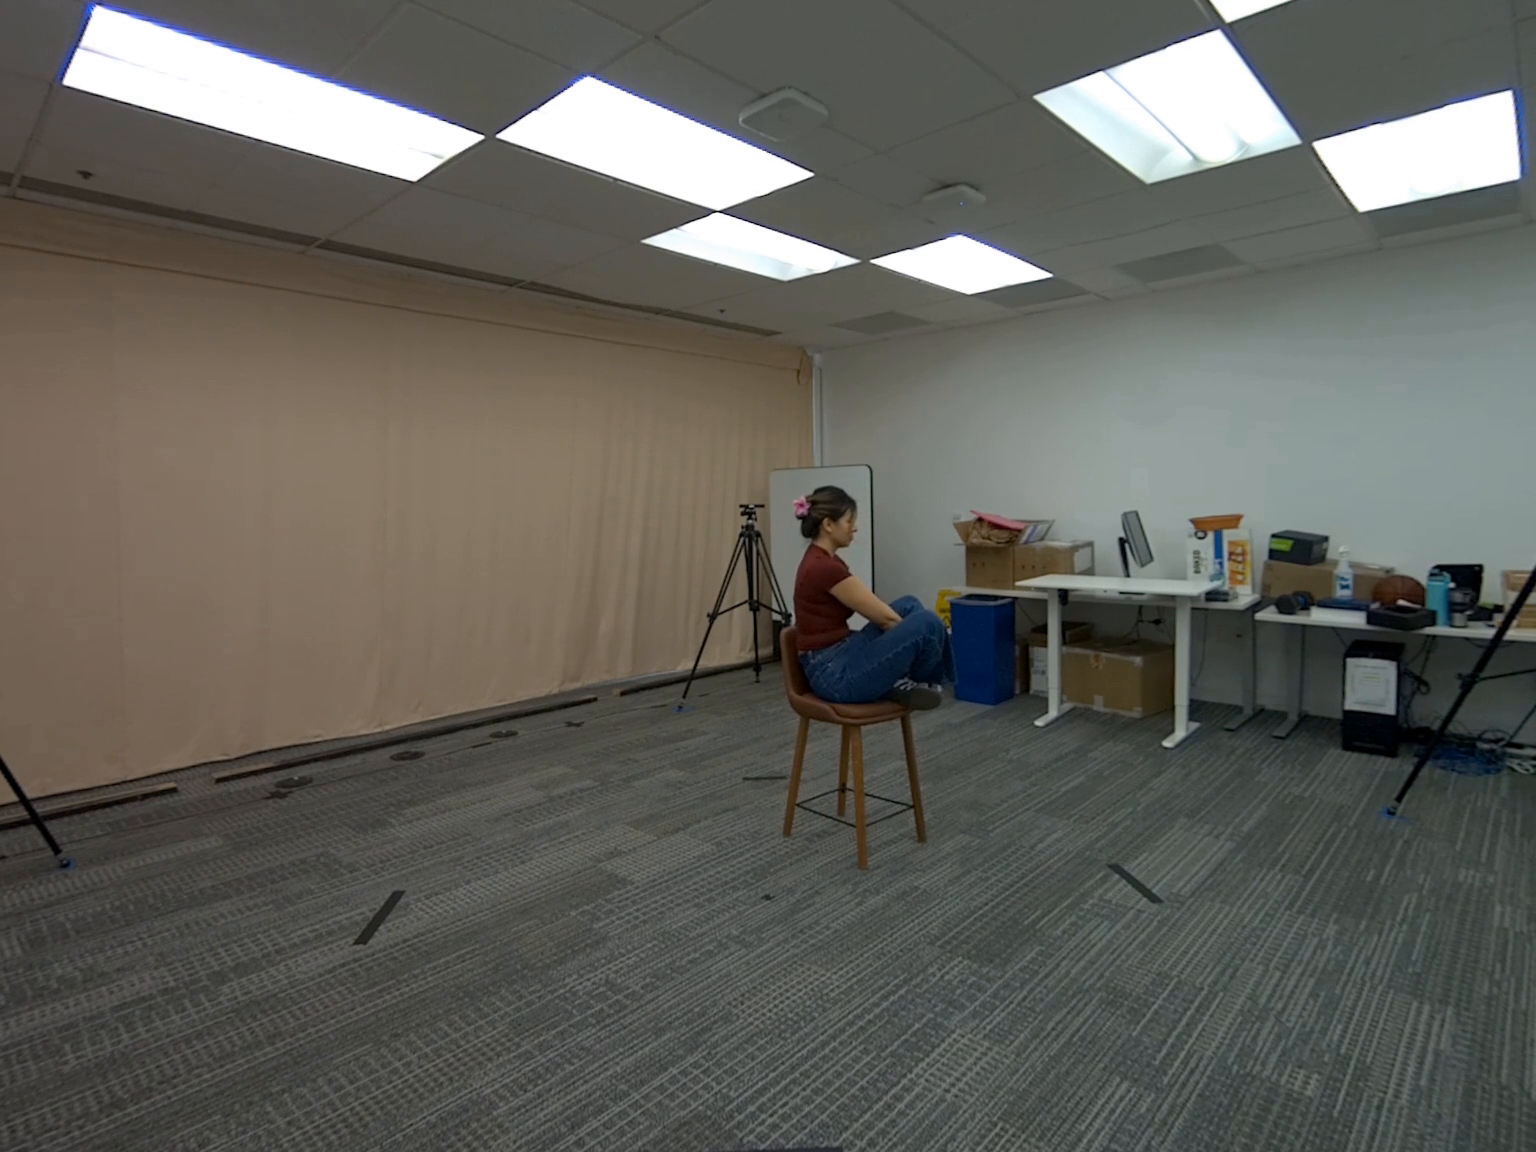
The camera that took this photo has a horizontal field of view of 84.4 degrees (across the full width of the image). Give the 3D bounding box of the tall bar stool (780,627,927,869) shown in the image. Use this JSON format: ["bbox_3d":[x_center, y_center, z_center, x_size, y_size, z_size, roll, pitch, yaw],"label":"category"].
[{"bbox_3d":[0.345,0.657,3.481,0.442,0.889,0.482,-3,2,-43],"label":"tall bar stool"}]
